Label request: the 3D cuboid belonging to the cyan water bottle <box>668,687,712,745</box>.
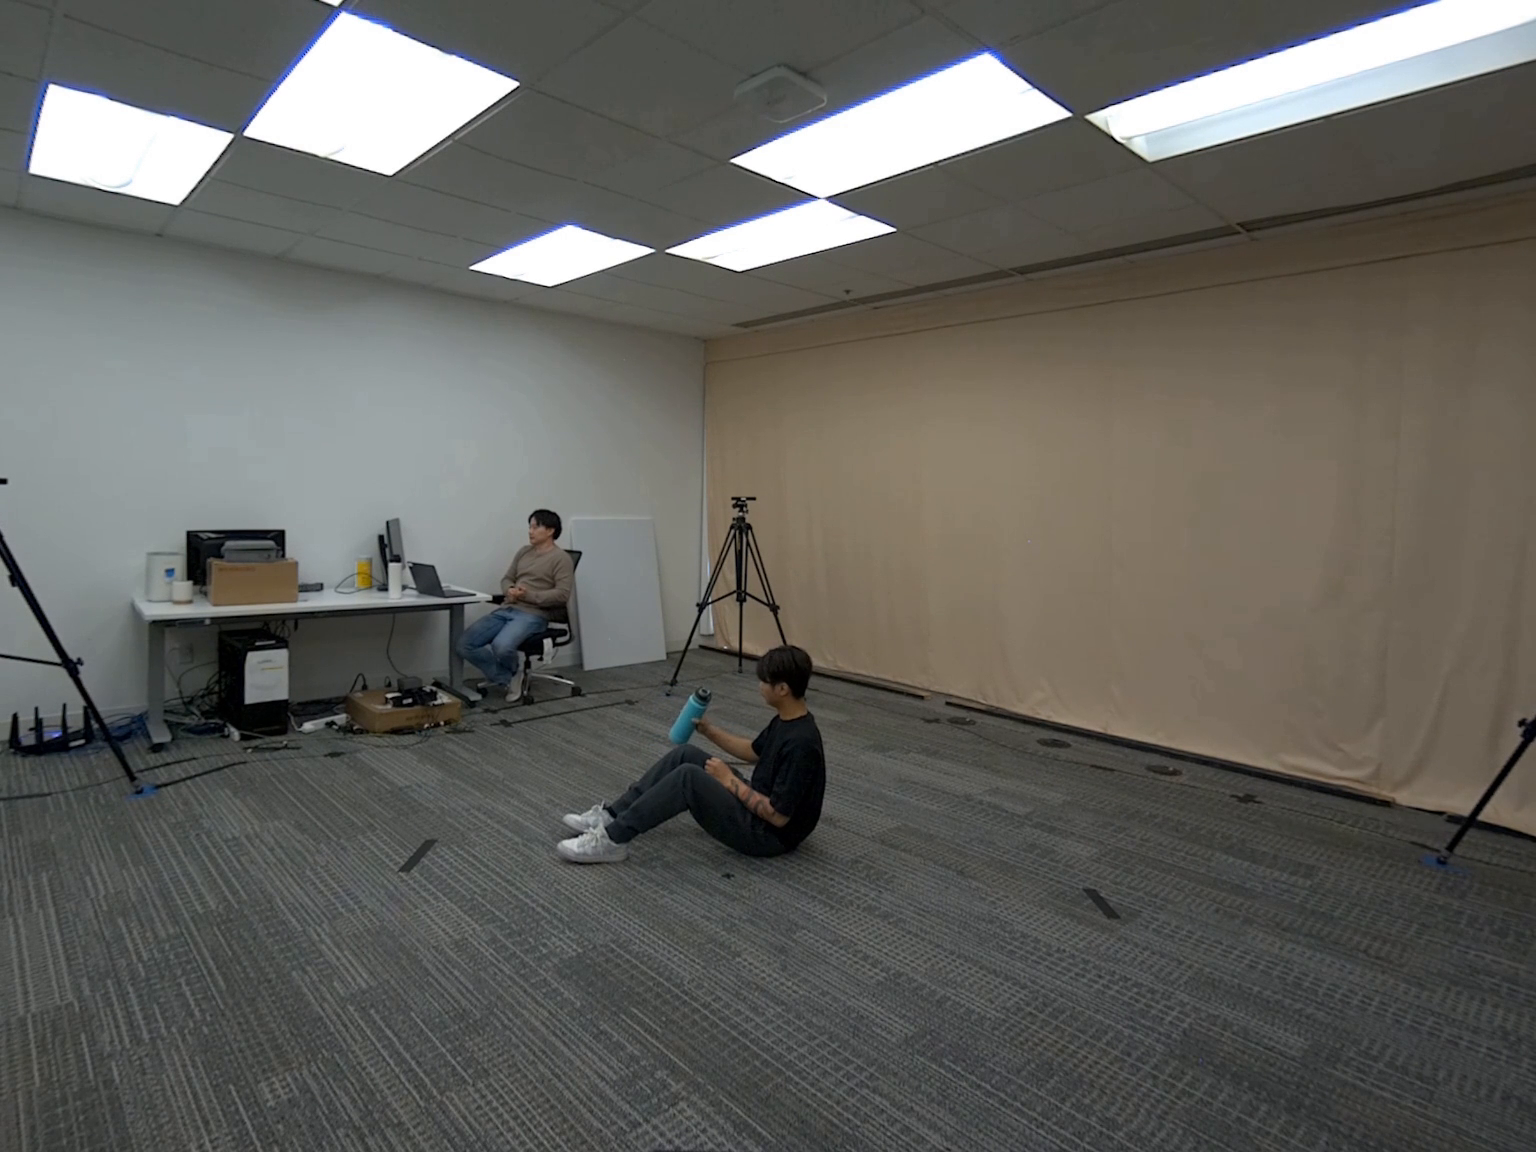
[{"bbox_3d":[-0.341,0.600,3.633,0.091,0.282,0.094,25,18,-10],"label":"cyan water bottle"}]
